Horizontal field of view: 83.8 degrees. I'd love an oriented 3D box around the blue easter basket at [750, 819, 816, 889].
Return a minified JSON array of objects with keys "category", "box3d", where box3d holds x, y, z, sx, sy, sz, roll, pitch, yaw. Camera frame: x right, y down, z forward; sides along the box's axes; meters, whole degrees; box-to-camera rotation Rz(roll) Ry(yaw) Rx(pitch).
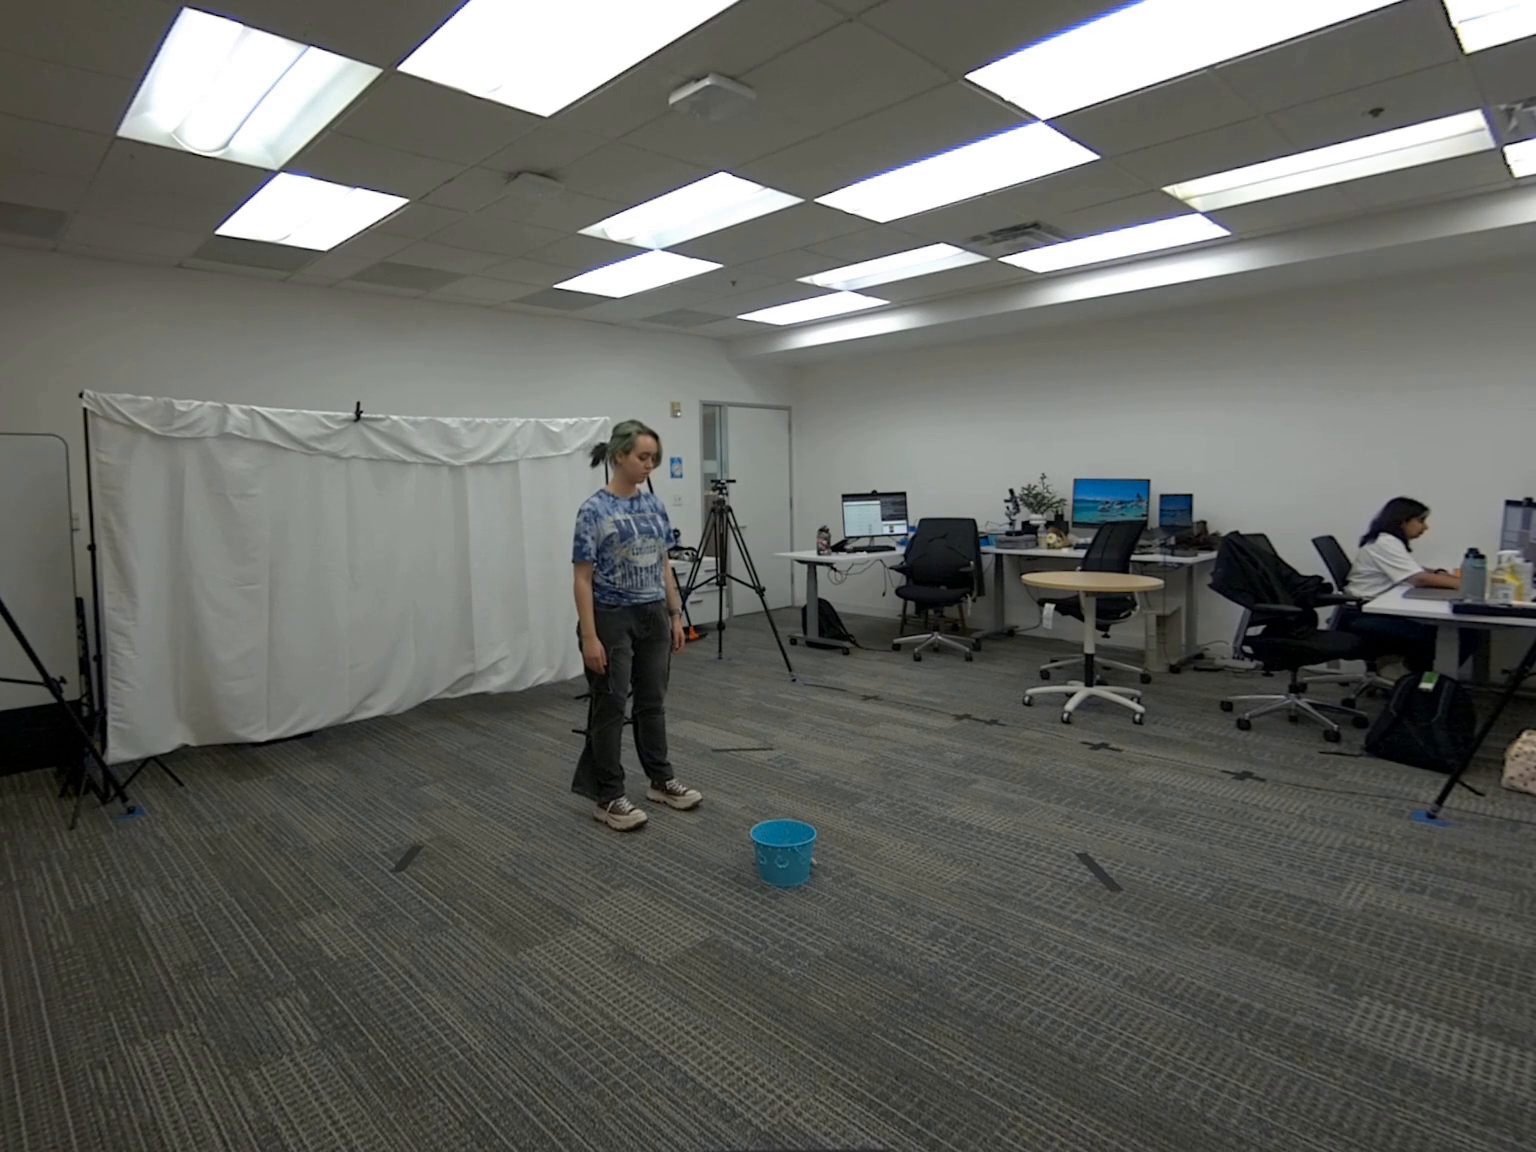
[{"category":"blue easter basket","box3d":[0.054,0.976,3.012,0.243,0.155,0.245,-1,5,-2]}]
